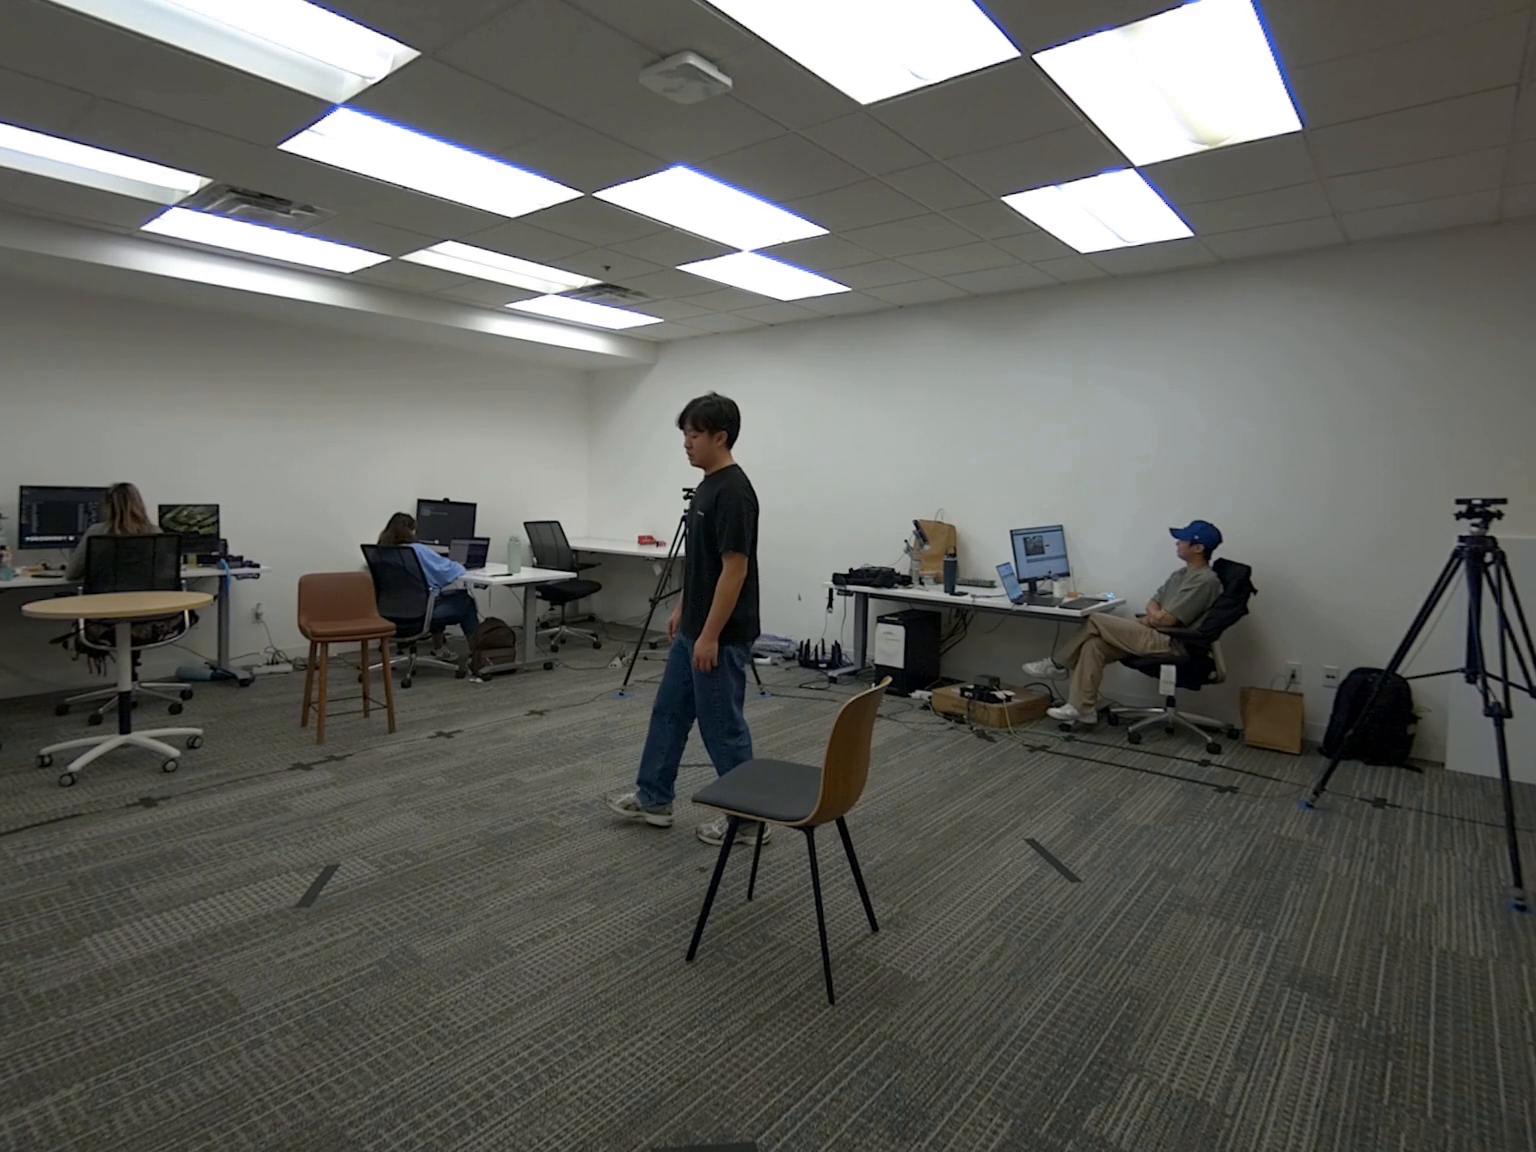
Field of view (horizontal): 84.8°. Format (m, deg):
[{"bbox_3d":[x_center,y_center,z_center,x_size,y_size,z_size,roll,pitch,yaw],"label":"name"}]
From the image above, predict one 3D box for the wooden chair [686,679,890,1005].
[{"bbox_3d":[0.053,0.697,2.581,0.538,0.873,0.467,8,6,25],"label":"wooden chair"}]
